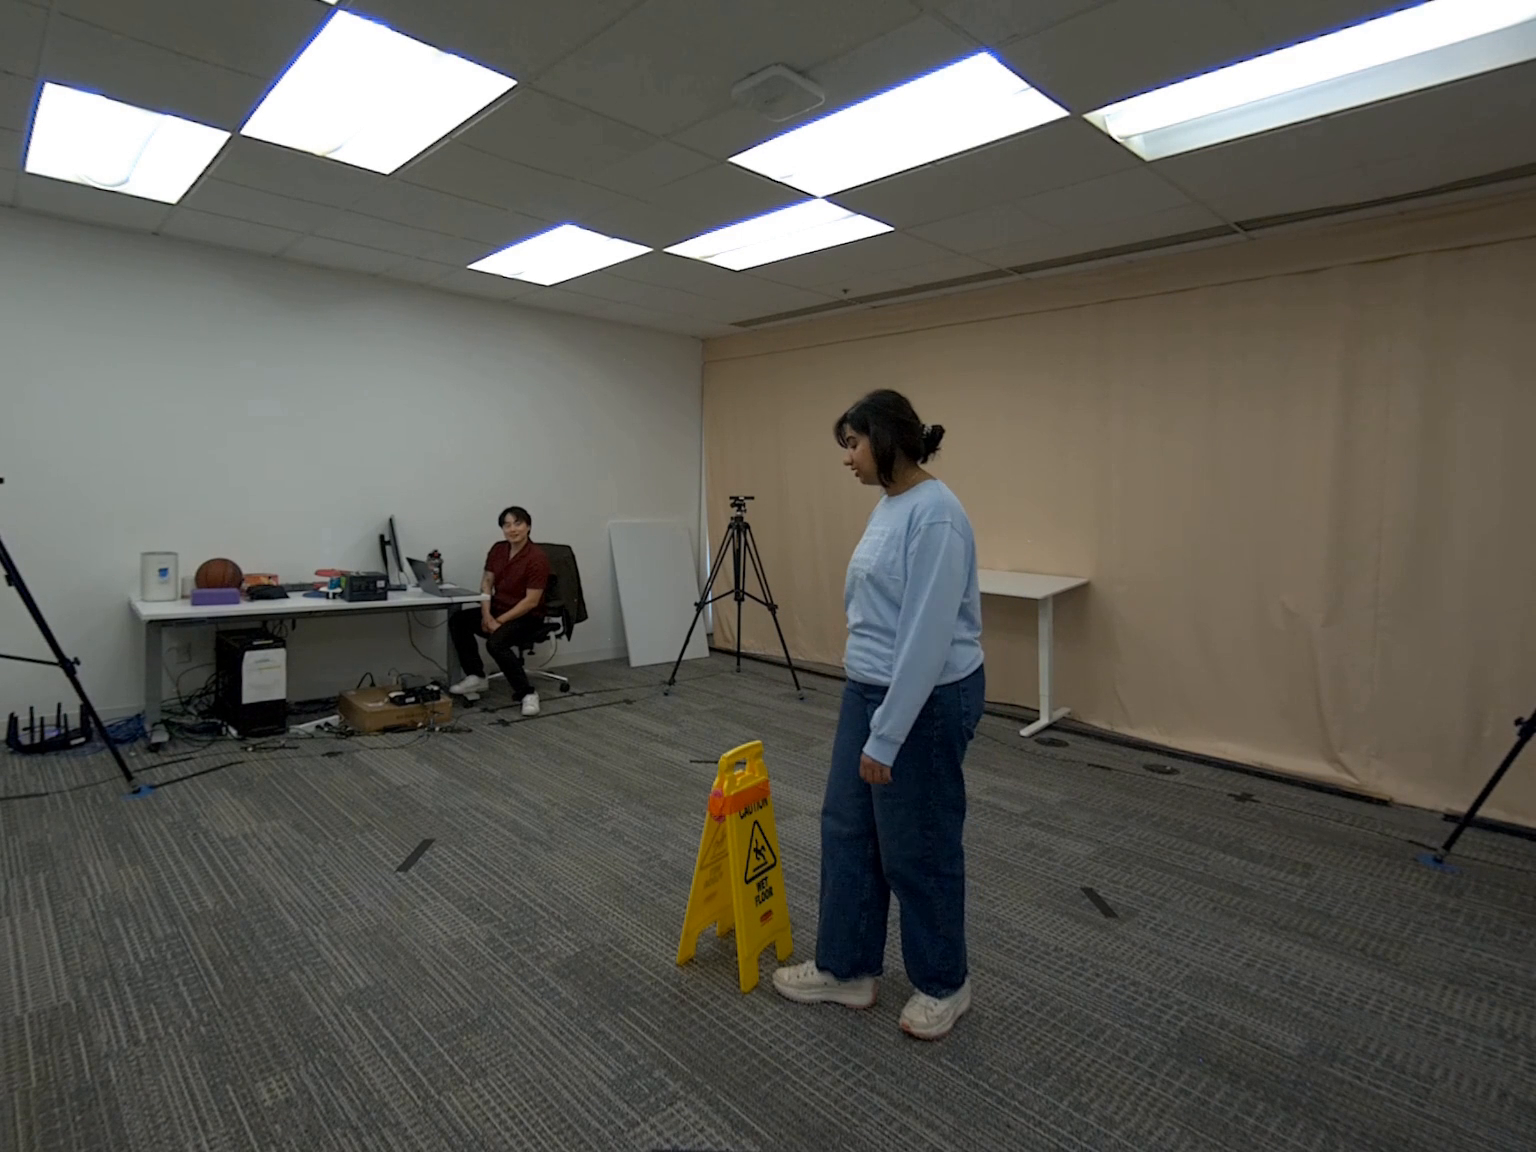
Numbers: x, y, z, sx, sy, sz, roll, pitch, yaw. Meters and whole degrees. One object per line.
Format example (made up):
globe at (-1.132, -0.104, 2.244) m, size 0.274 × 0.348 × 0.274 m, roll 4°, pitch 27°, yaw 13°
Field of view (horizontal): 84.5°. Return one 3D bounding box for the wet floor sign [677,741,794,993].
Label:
wet floor sign at (-0.089, 0.836, 2.517) m, size 0.296 × 0.644 × 0.276 m, roll 4°, pitch 5°, yaw 32°
